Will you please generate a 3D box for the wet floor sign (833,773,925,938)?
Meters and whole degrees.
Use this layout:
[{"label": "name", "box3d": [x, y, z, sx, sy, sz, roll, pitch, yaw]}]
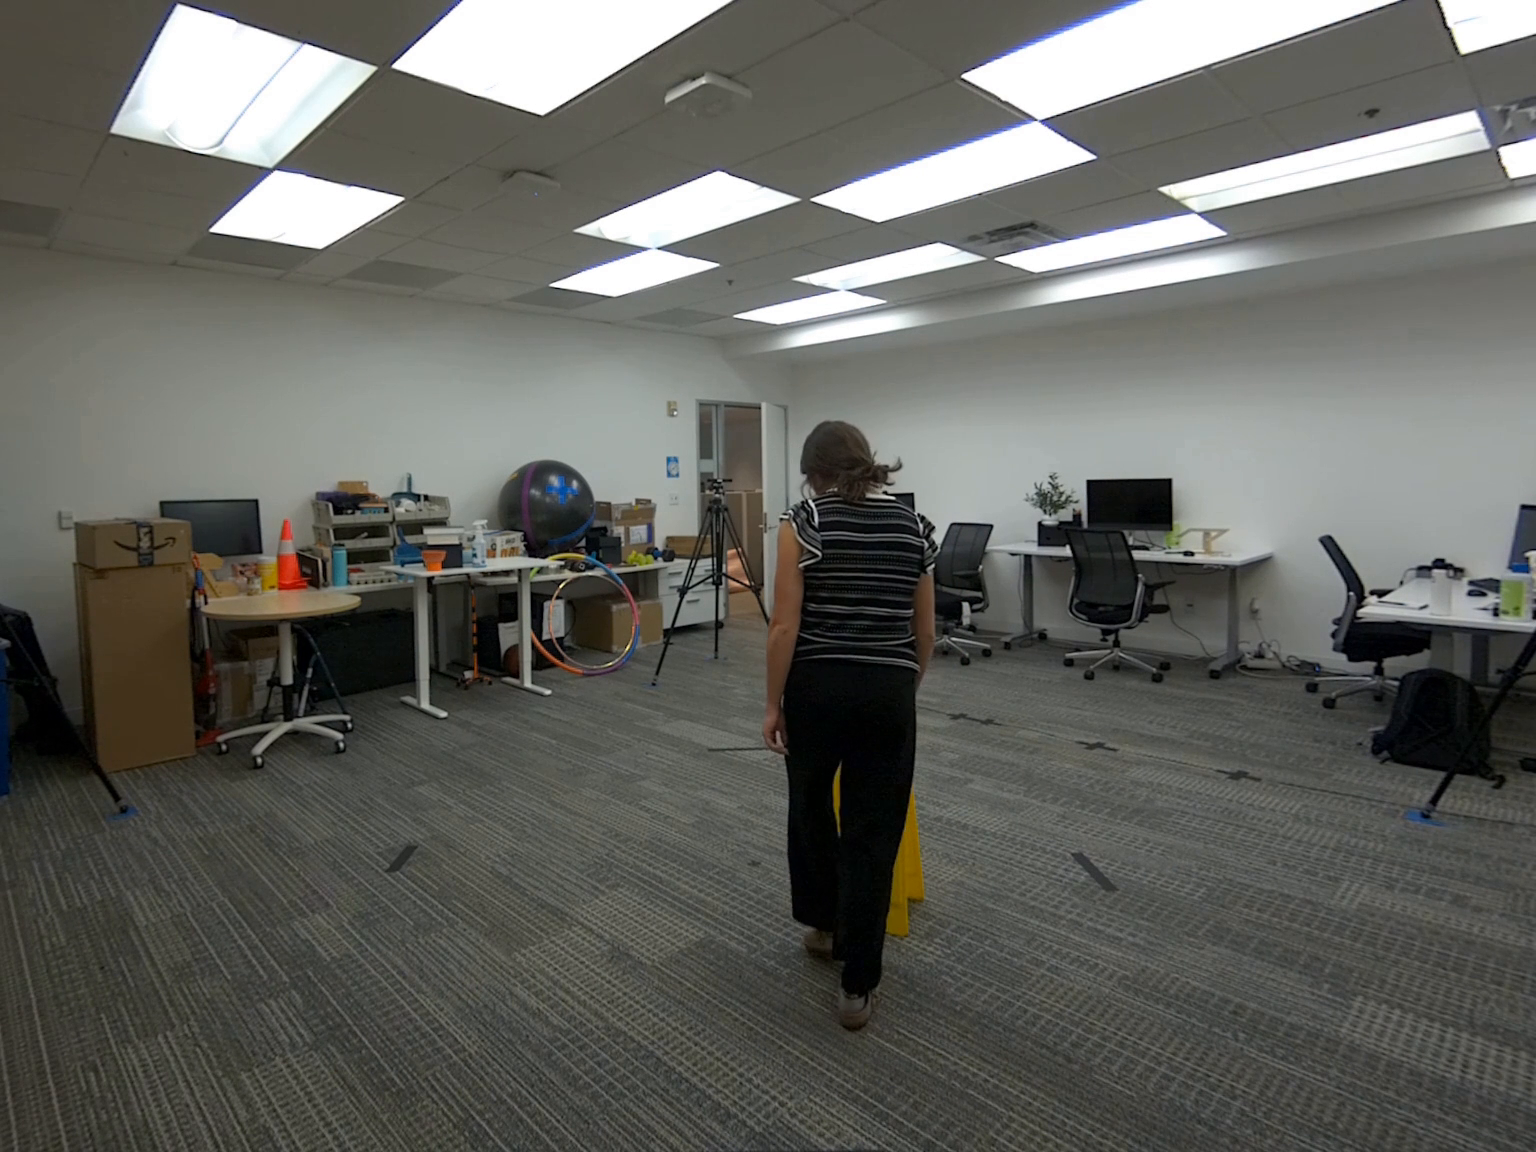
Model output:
[{"label": "wet floor sign", "box3d": [0.345, 0.759, 2.732, 0.288, 0.644, 0.285, -1, 4, 23]}]
